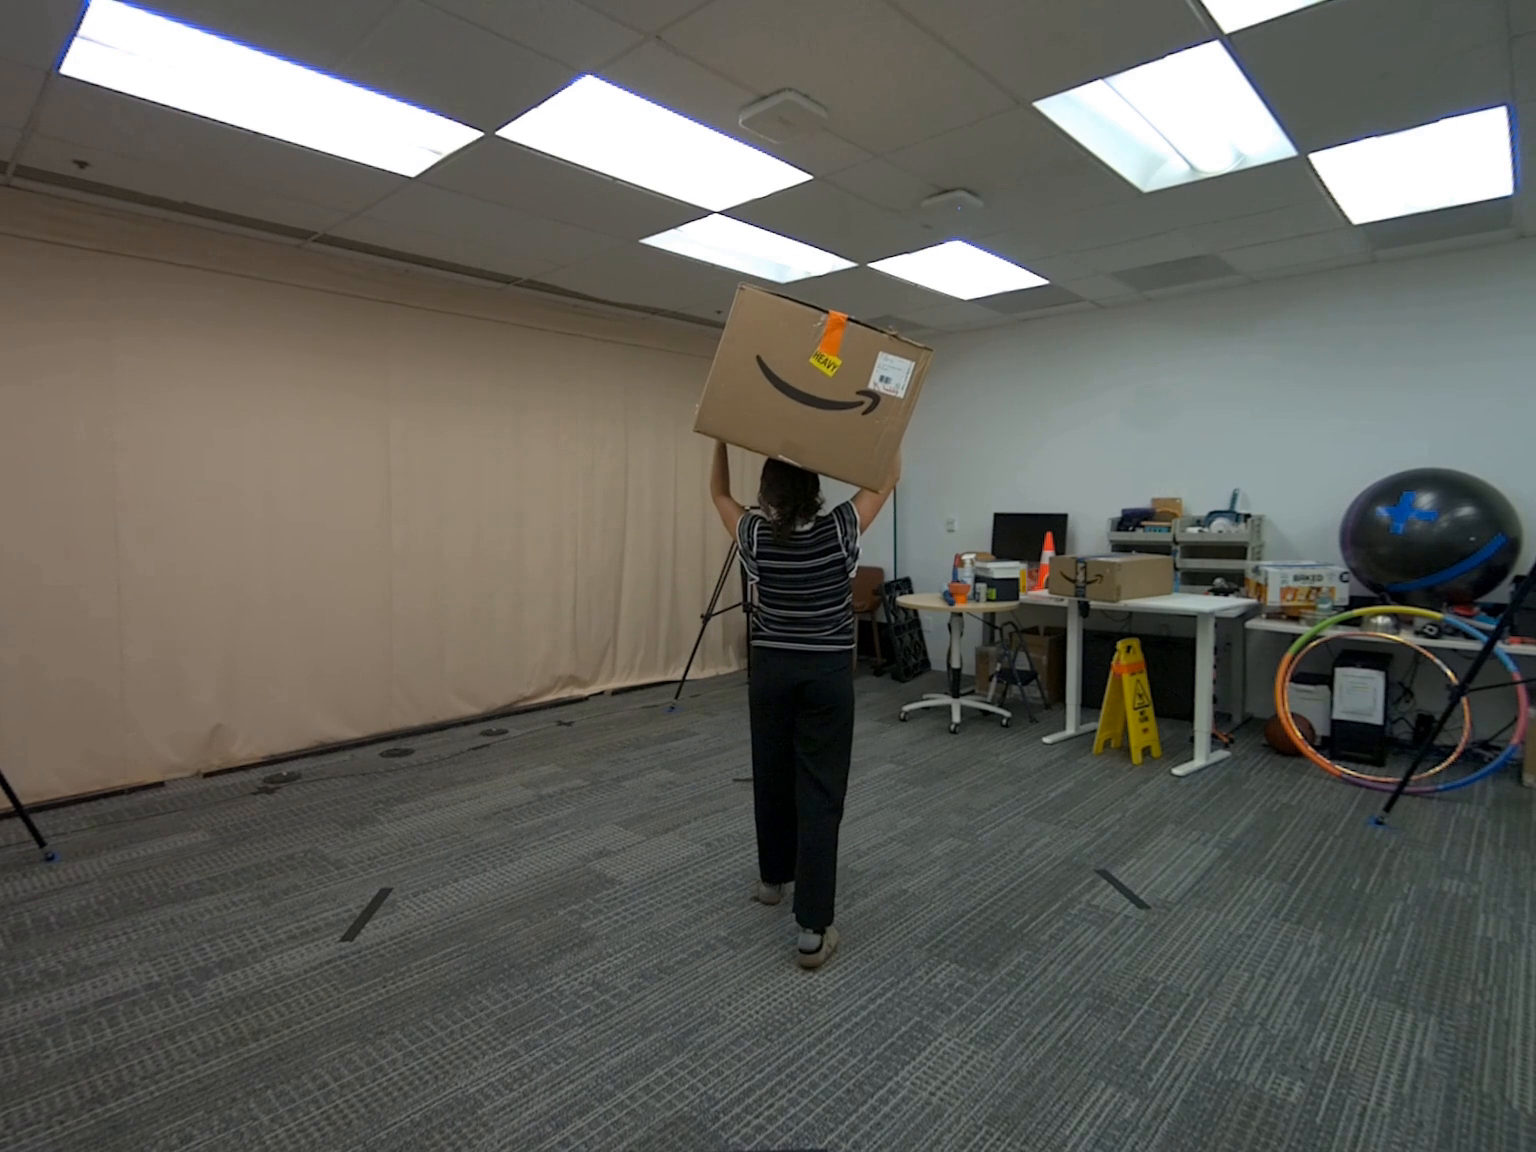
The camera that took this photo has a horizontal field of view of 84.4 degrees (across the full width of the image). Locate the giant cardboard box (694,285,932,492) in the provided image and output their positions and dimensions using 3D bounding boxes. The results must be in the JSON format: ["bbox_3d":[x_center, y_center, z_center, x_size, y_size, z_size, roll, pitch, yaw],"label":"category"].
[{"bbox_3d":[0.118,-0.652,2.838,0.575,0.425,1.035,18,14,-6],"label":"giant cardboard box"}]
